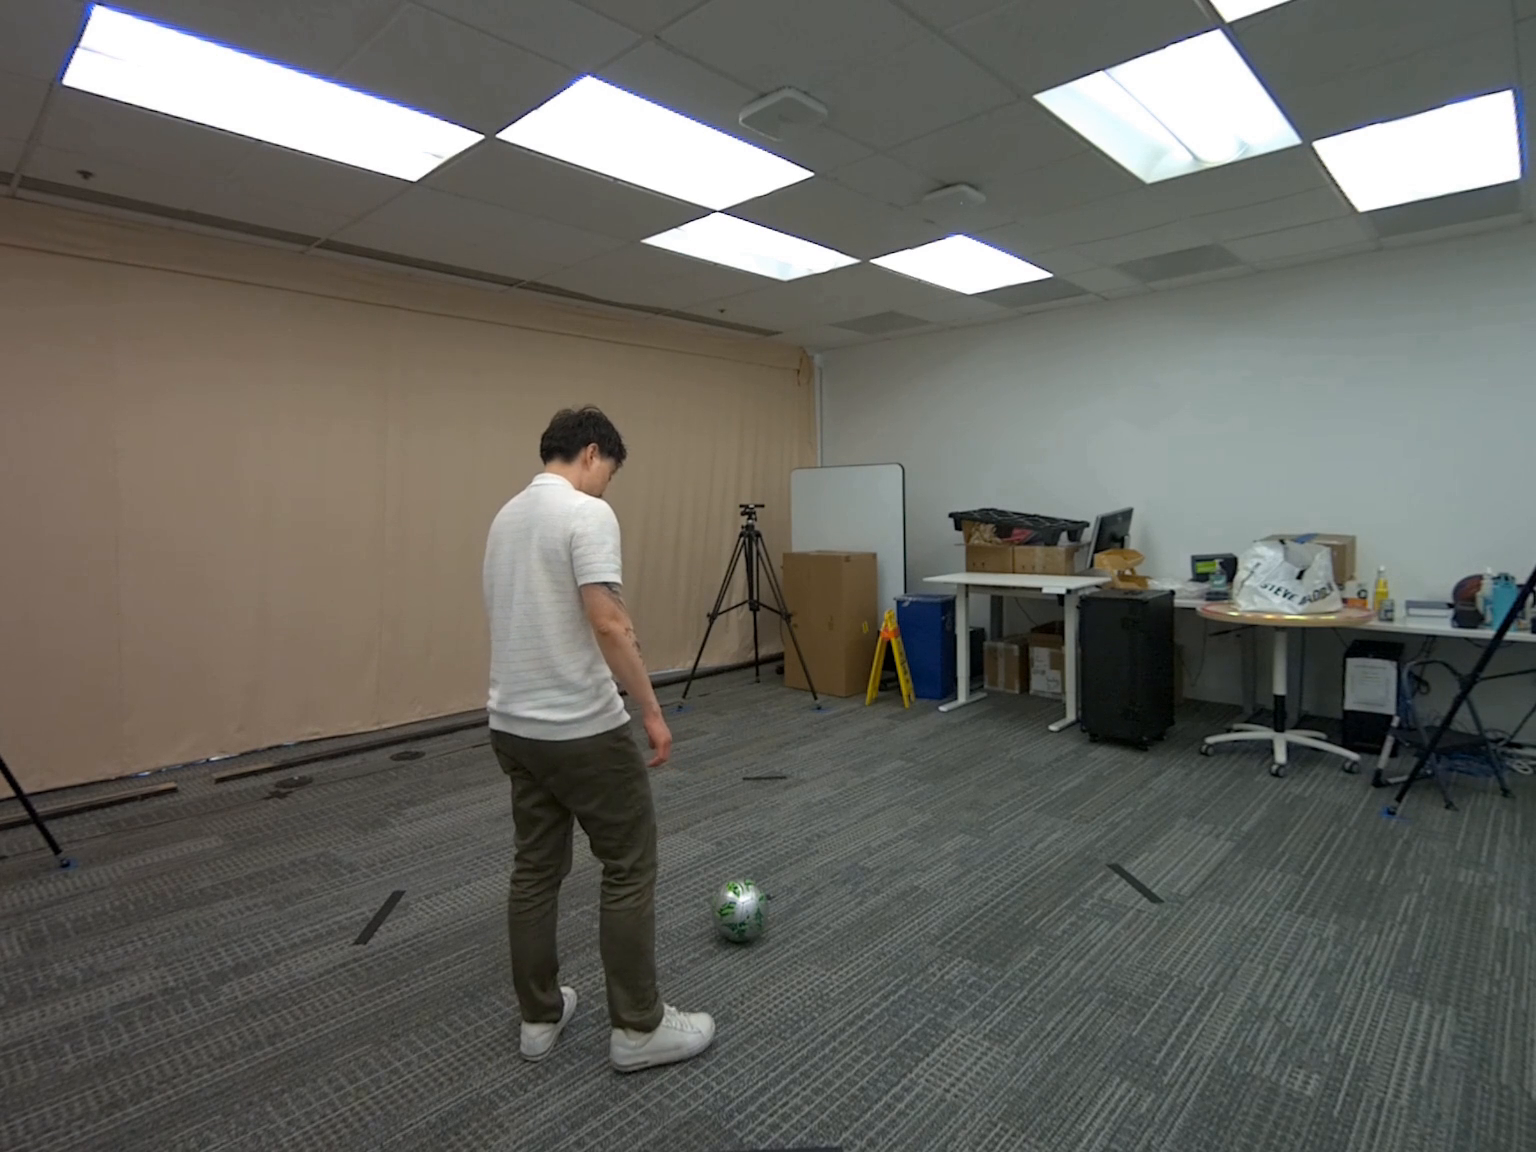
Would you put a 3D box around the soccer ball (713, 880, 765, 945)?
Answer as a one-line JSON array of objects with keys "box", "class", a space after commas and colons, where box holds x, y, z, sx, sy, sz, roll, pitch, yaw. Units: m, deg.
[{"box": [-0.087, 1.071, 2.705, 0.187, 0.187, 0.188, -1, 4, -2], "class": "soccer ball"}]
